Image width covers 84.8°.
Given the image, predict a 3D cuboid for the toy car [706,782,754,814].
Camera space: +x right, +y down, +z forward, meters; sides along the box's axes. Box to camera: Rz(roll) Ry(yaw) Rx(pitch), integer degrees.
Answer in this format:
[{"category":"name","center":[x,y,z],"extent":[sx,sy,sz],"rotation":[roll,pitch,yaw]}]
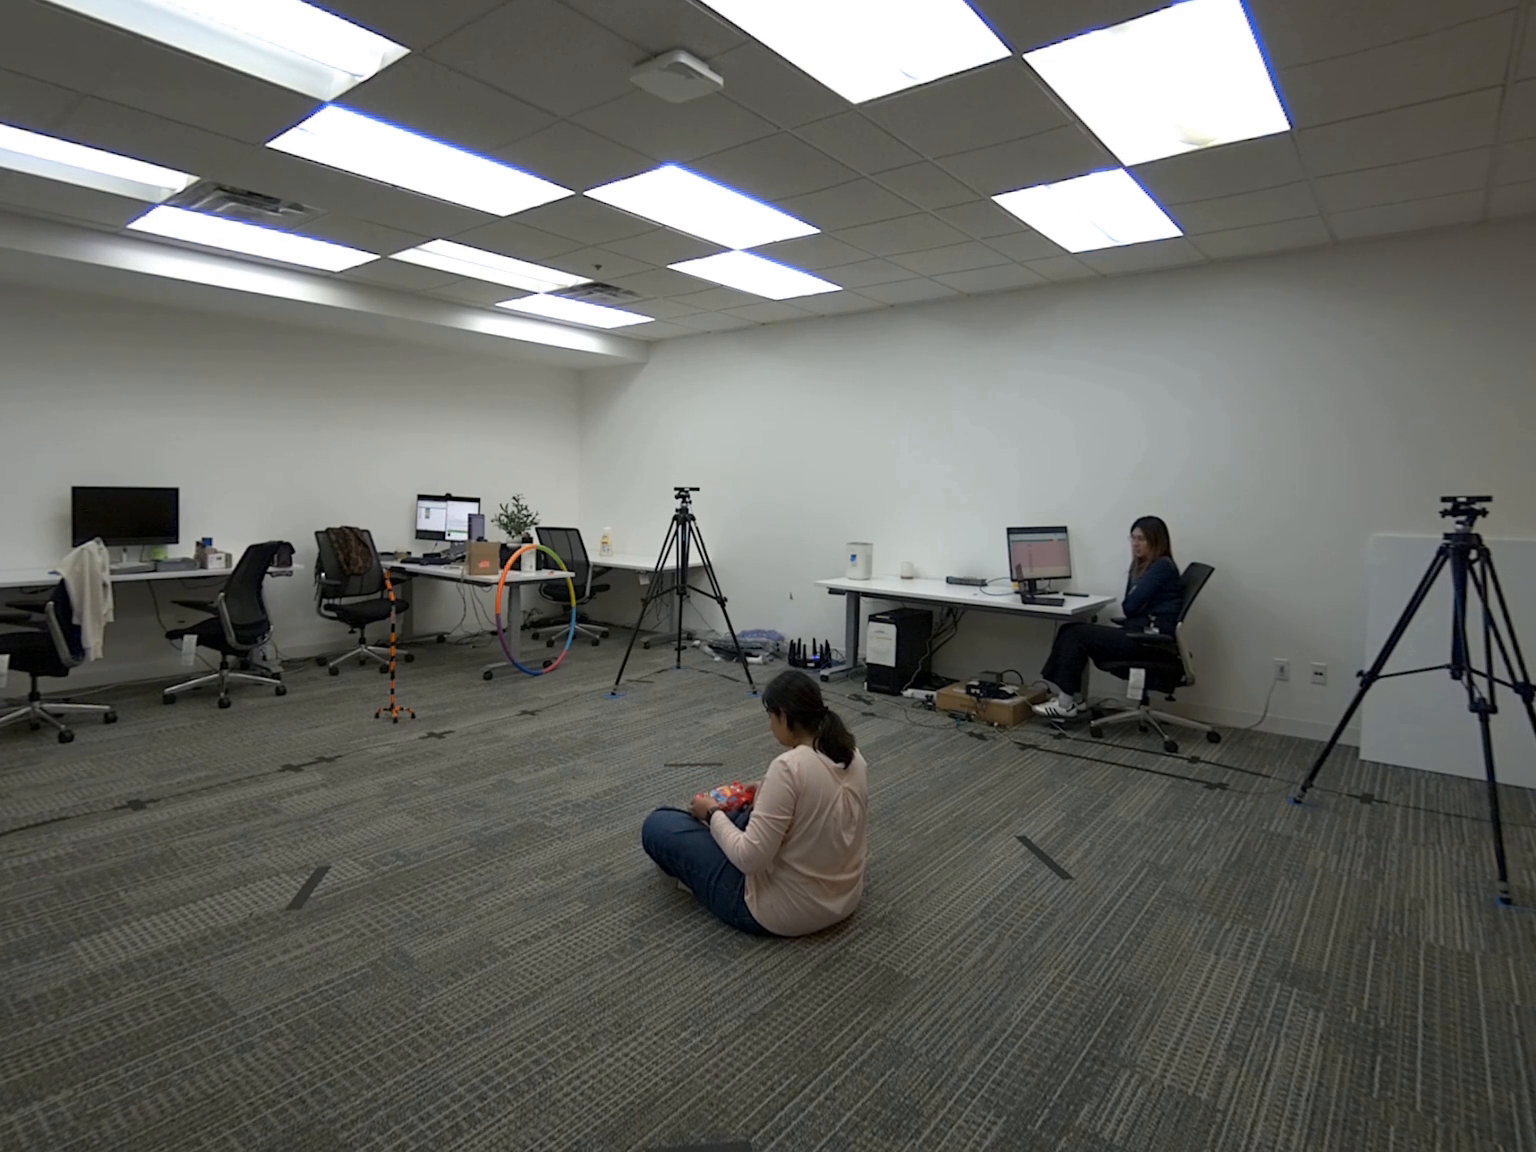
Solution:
[{"category":"toy car","center":[-0.153,0.791,3.009],"extent":[0.135,0.082,0.248],"rotation":[21,22,36]}]
